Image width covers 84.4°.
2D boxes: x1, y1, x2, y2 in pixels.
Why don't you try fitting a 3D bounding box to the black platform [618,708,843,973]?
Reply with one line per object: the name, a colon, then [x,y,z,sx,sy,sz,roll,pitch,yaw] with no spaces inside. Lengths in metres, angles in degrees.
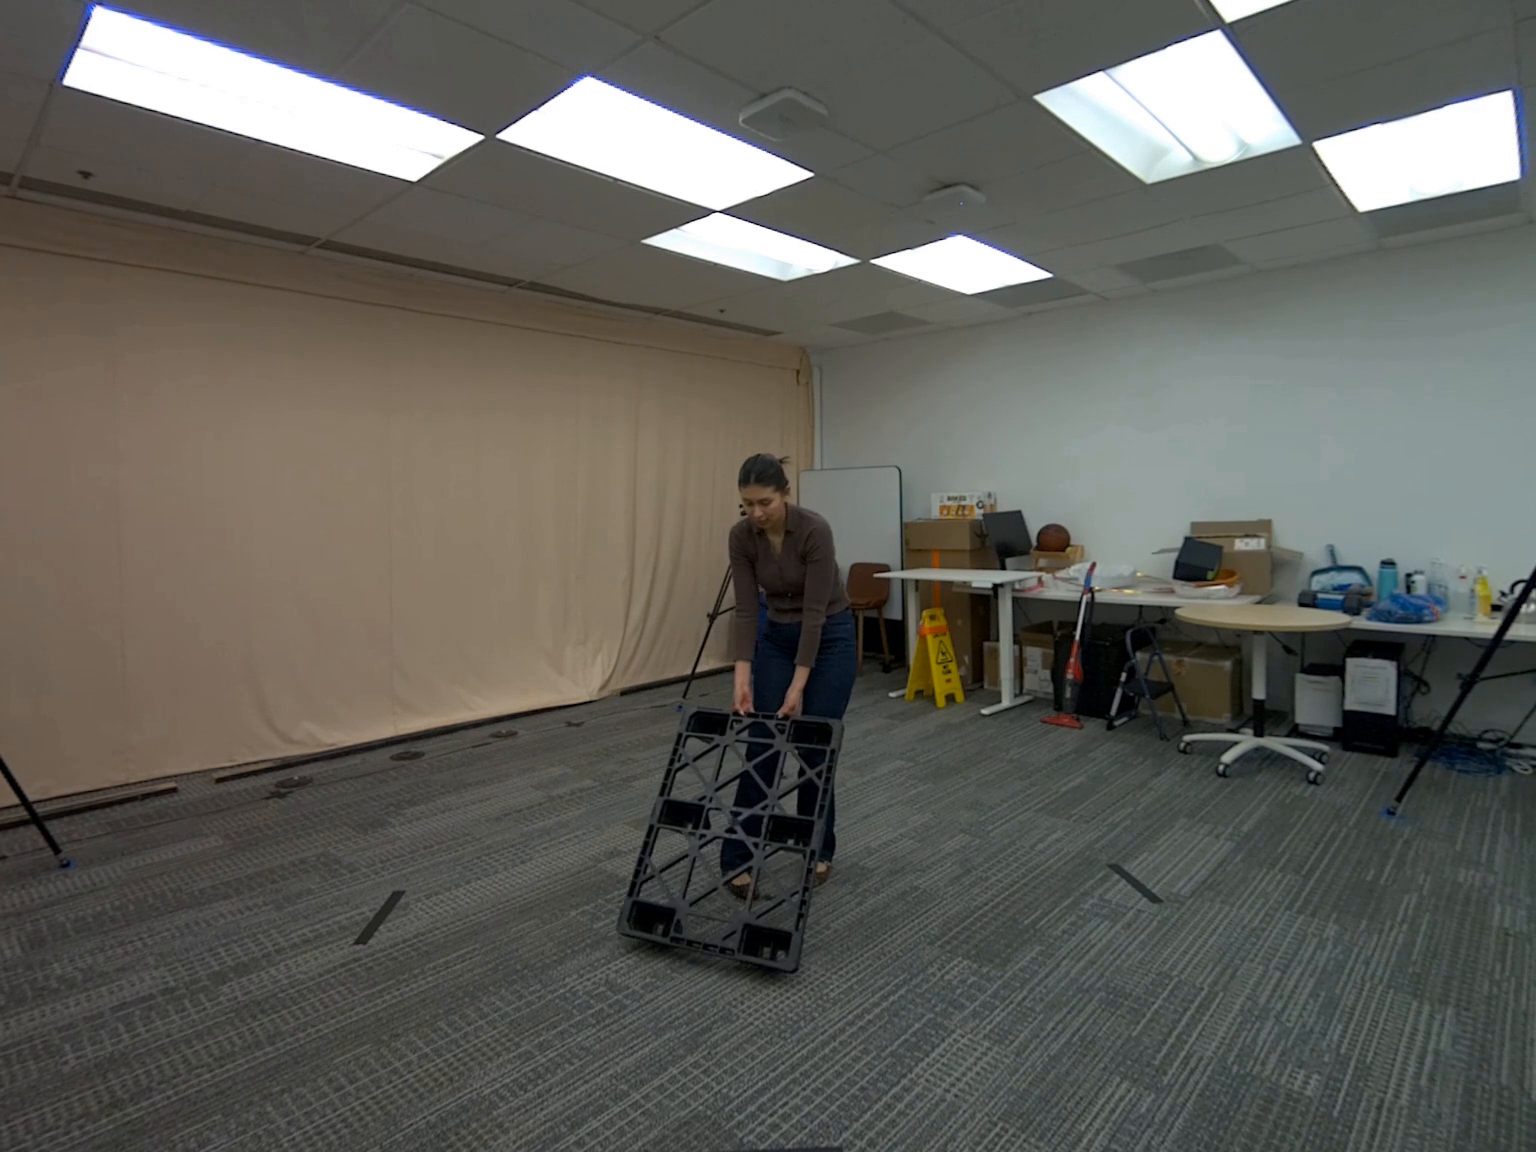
black platform: [-0.087,0.836,2.787,0.619,0.812,0.139,0,-36,22]
